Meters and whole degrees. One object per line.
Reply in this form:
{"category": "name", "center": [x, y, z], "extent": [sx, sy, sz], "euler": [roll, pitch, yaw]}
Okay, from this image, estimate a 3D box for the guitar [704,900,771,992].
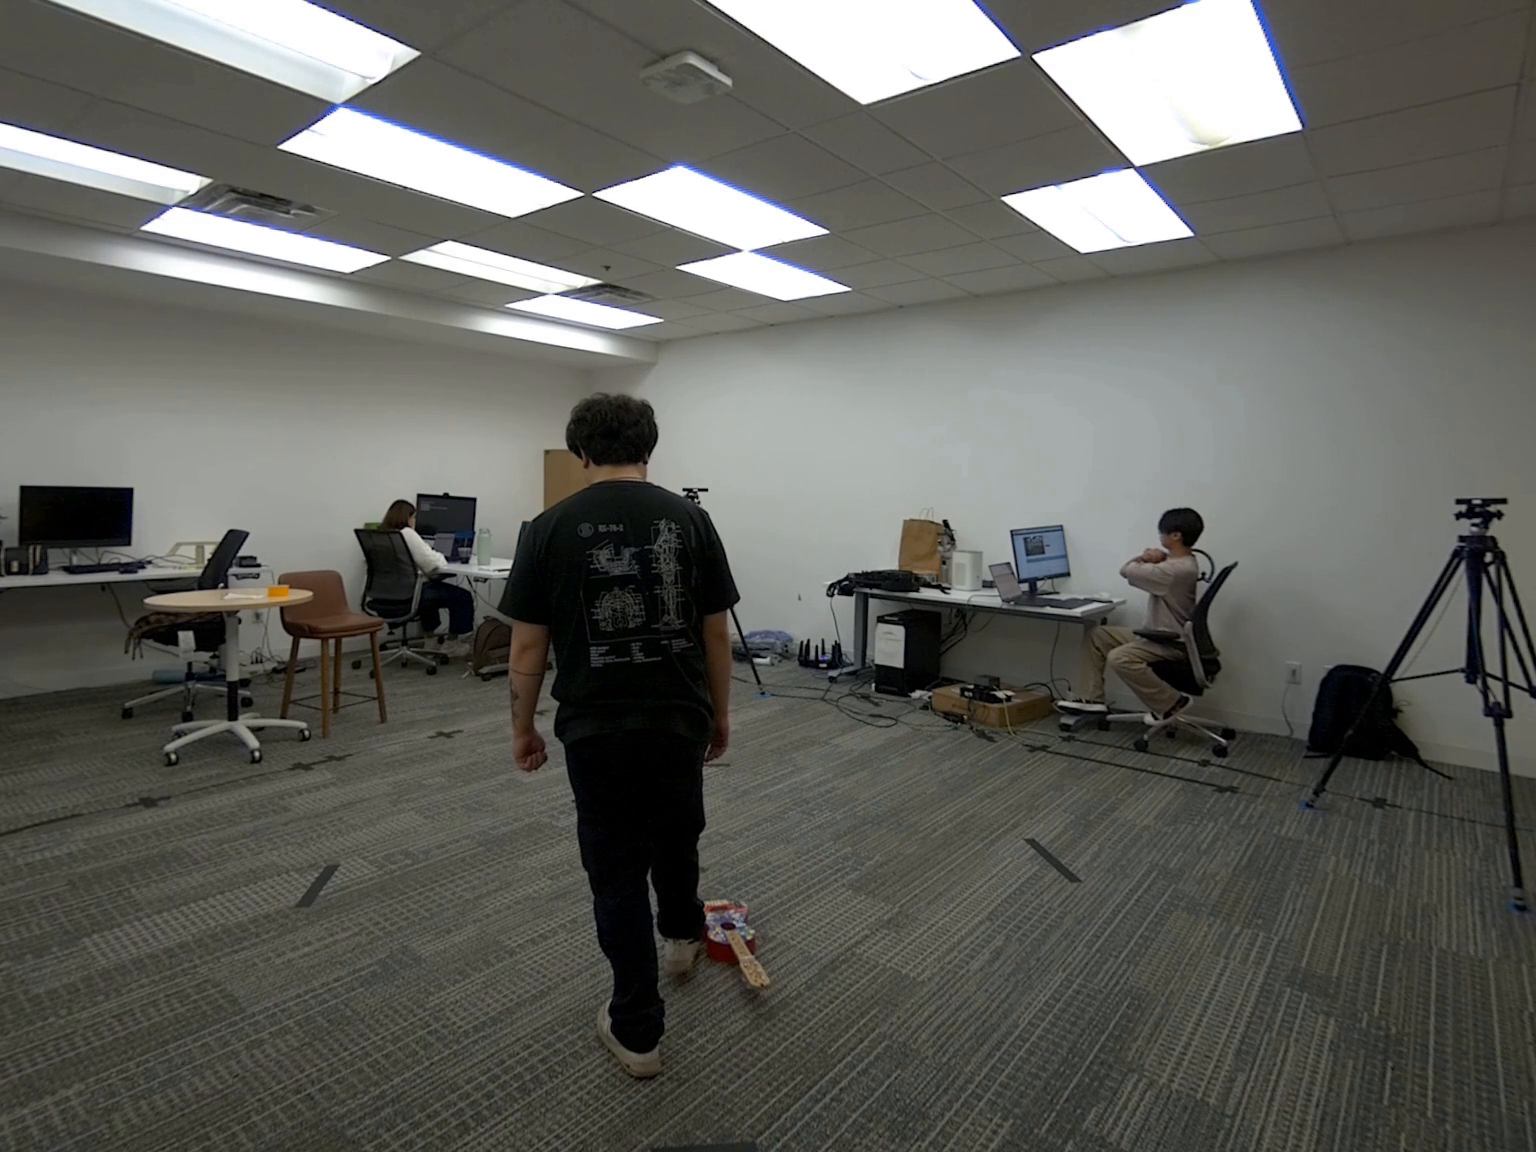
{"category": "guitar", "center": [-0.131, 1.095, 2.504], "extent": [0.191, 0.070, 0.505], "euler": [1, 5, -11]}
